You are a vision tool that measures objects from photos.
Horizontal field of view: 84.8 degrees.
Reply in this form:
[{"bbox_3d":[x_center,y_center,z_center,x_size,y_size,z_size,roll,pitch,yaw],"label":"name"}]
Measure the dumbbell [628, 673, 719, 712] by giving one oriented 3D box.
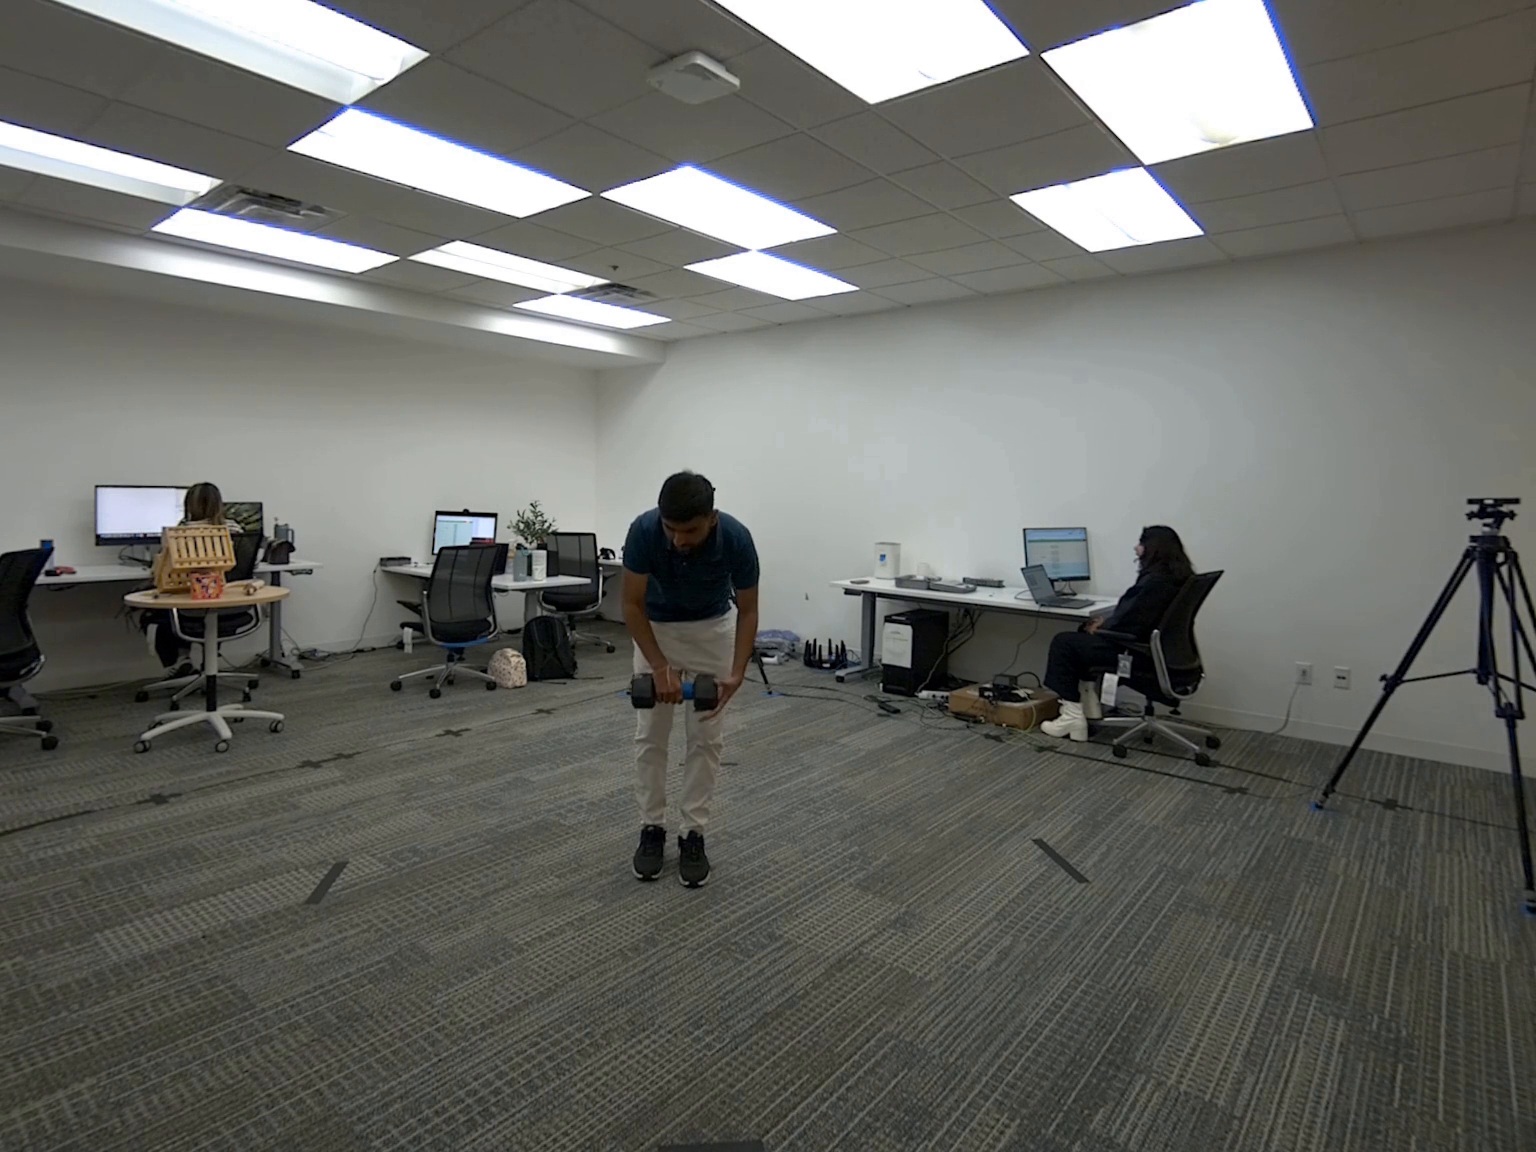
[{"bbox_3d":[-0.336,0.390,2.917,0.295,0.119,0.111,-1,41,3],"label":"dumbbell"}]
